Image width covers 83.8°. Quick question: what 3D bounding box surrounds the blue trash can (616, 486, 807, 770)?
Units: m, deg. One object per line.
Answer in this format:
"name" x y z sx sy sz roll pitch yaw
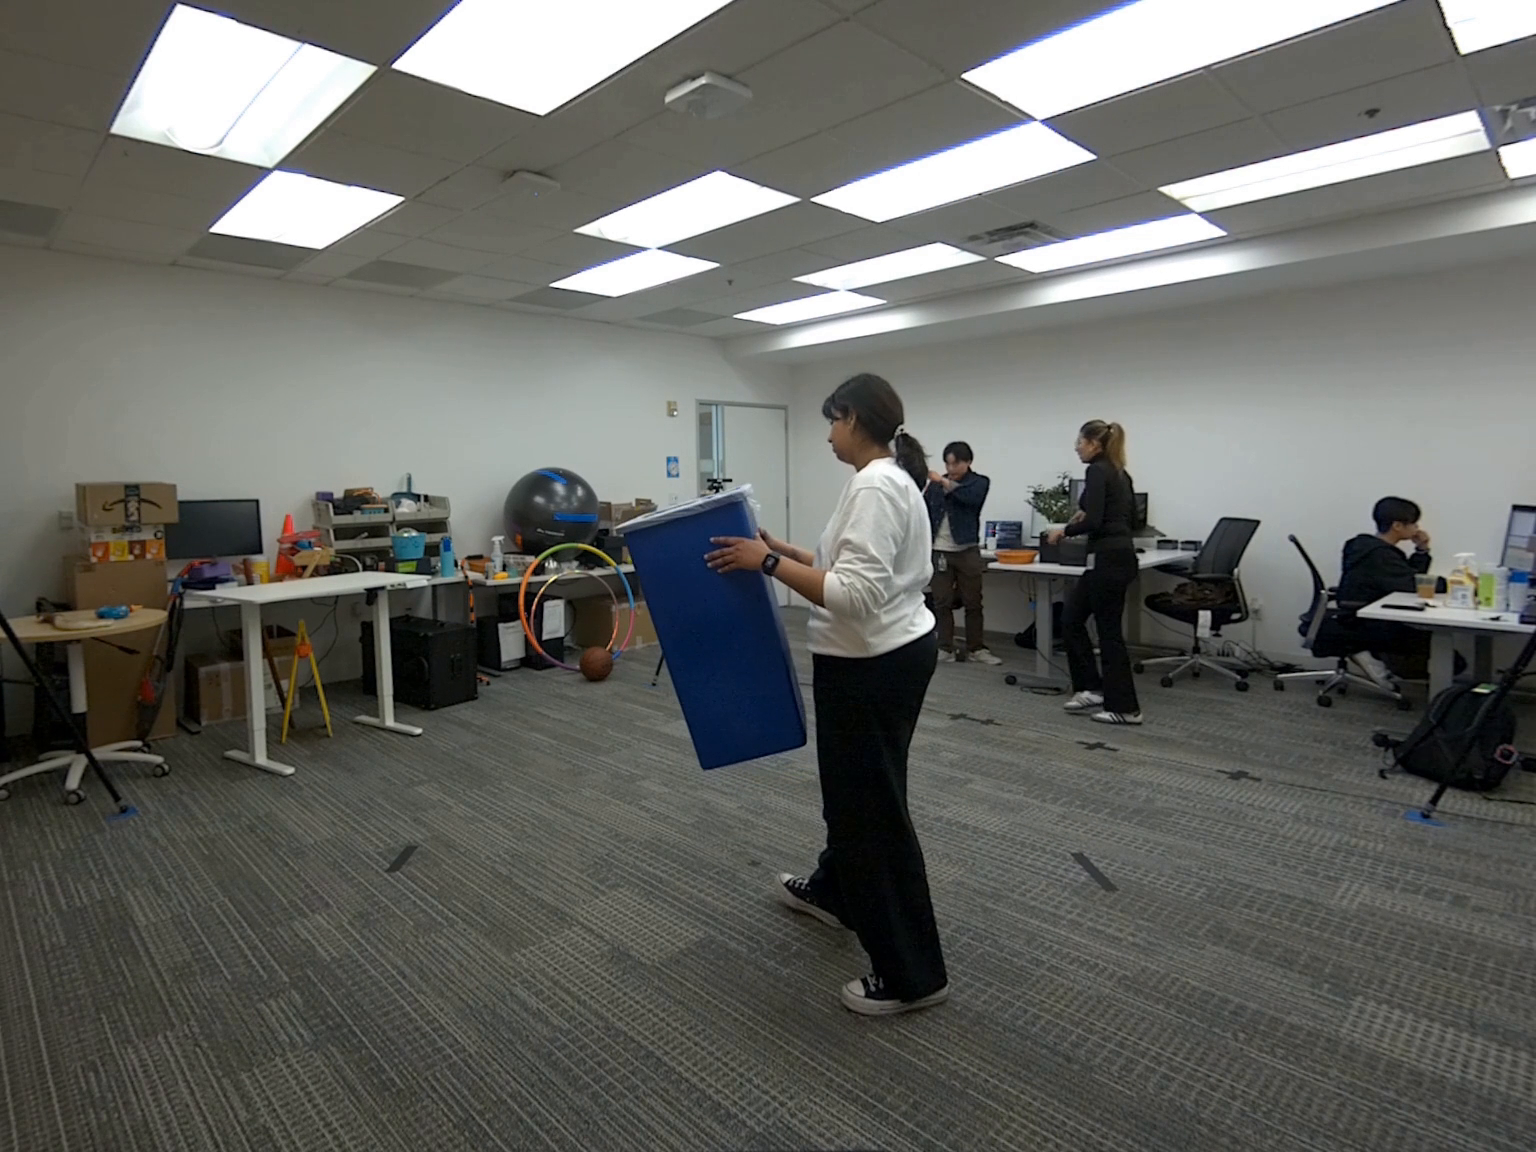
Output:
"blue trash can" -0.130 0.134 2.432 0.375 0.711 0.378 -16 4 5
